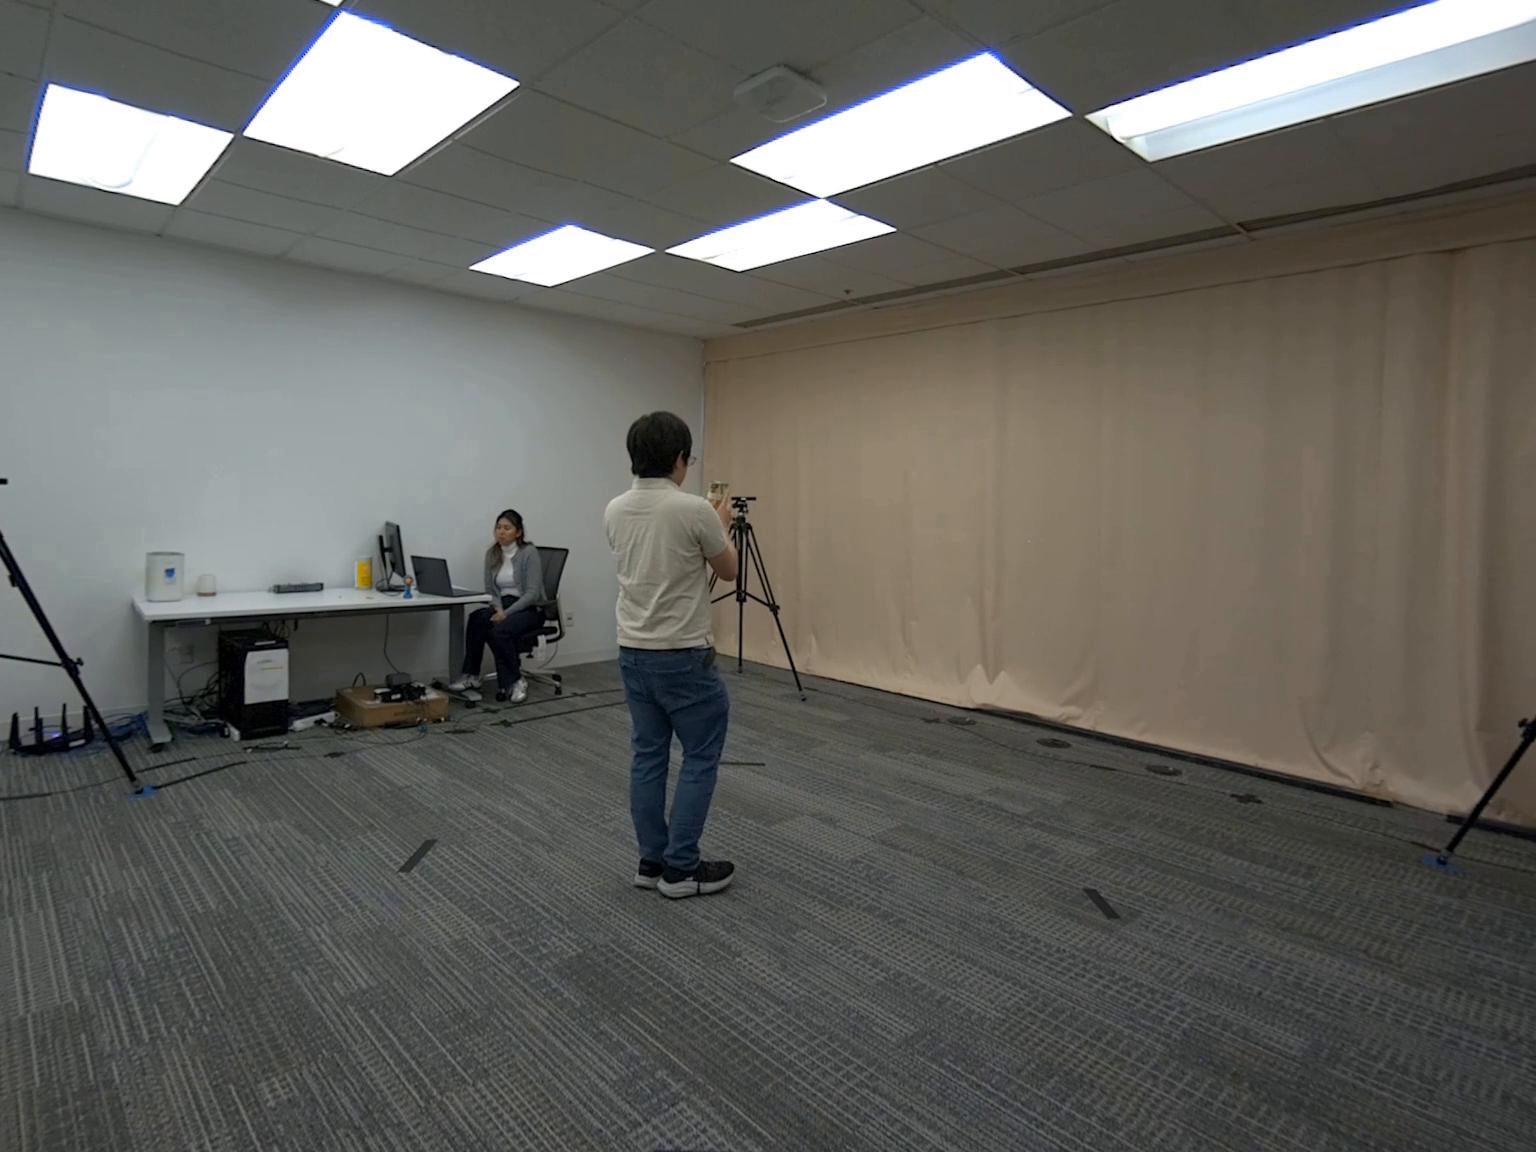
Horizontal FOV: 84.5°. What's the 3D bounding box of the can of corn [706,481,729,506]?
[{"bbox_3d":[-0.209,-0.309,3.269,0.074,0.110,0.075,11,7,-3],"label":"can of corn"}]
